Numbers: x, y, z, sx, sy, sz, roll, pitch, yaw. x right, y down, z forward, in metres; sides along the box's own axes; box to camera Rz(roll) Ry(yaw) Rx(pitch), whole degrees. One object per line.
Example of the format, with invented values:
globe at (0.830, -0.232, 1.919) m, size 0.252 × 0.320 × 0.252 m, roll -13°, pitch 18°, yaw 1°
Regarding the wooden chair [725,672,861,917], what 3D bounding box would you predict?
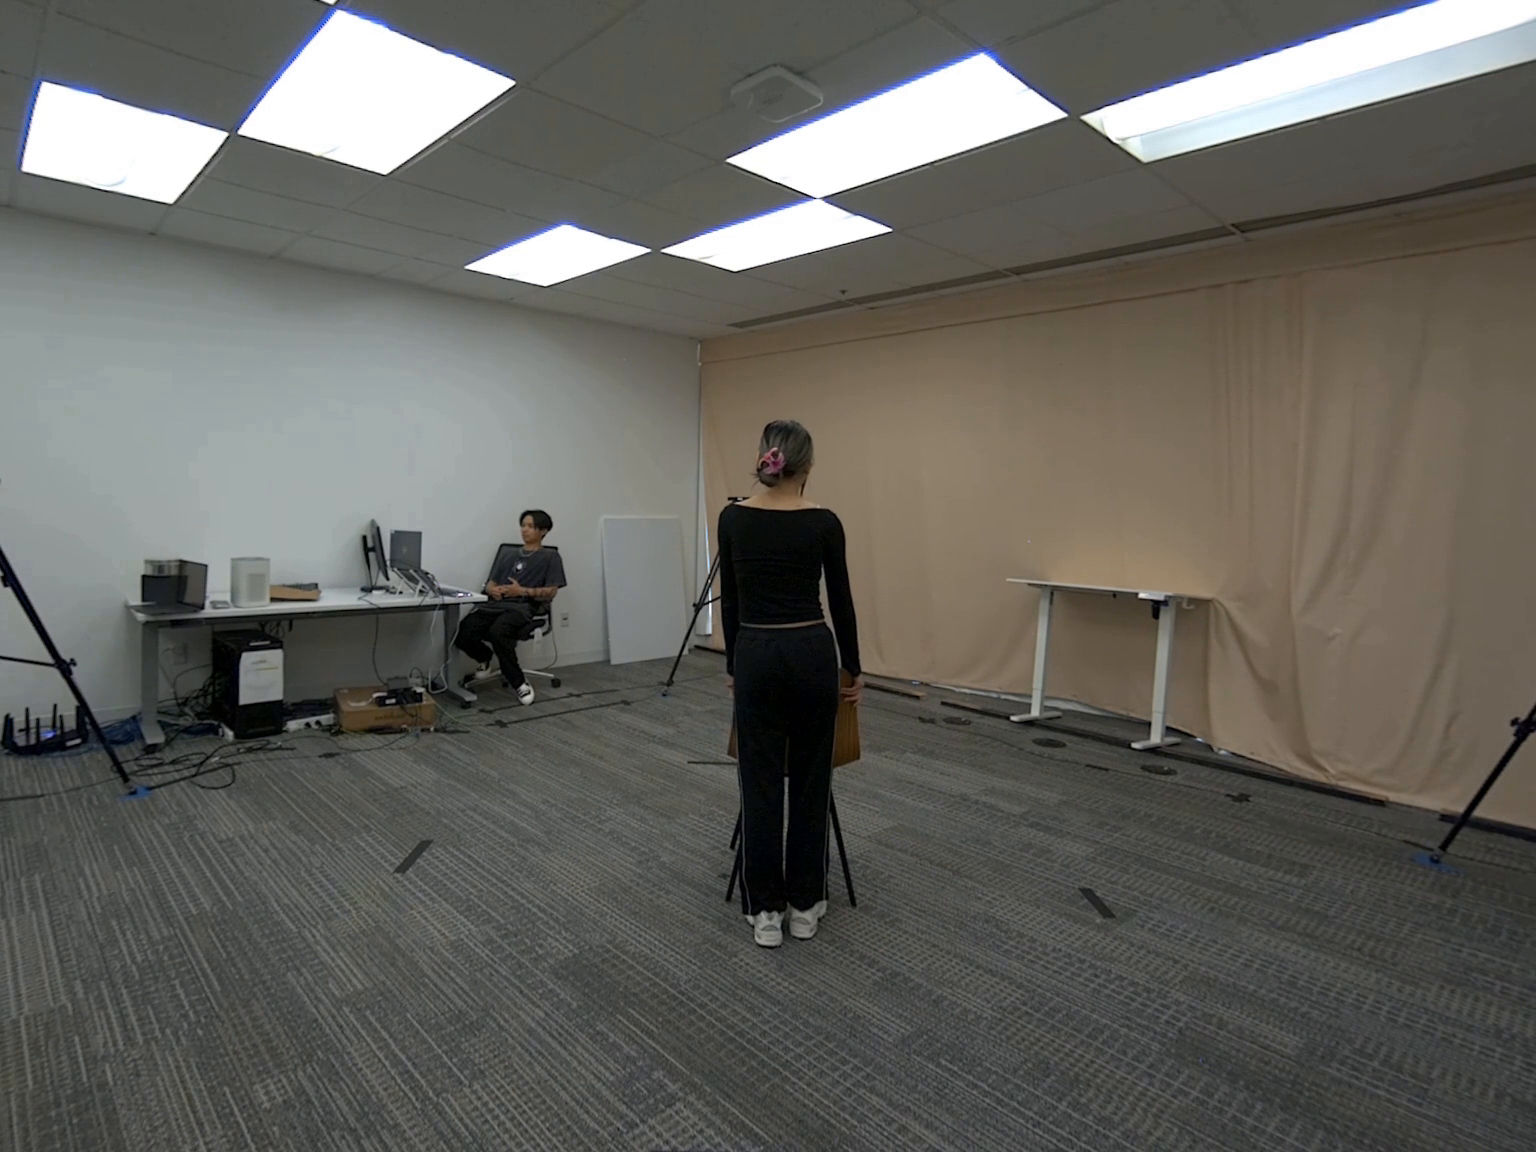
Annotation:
wooden chair at (0.079, 0.688, 3.101) m, size 0.478 × 0.872 × 0.526 m, roll 1°, pitch 8°, yaw 1°
